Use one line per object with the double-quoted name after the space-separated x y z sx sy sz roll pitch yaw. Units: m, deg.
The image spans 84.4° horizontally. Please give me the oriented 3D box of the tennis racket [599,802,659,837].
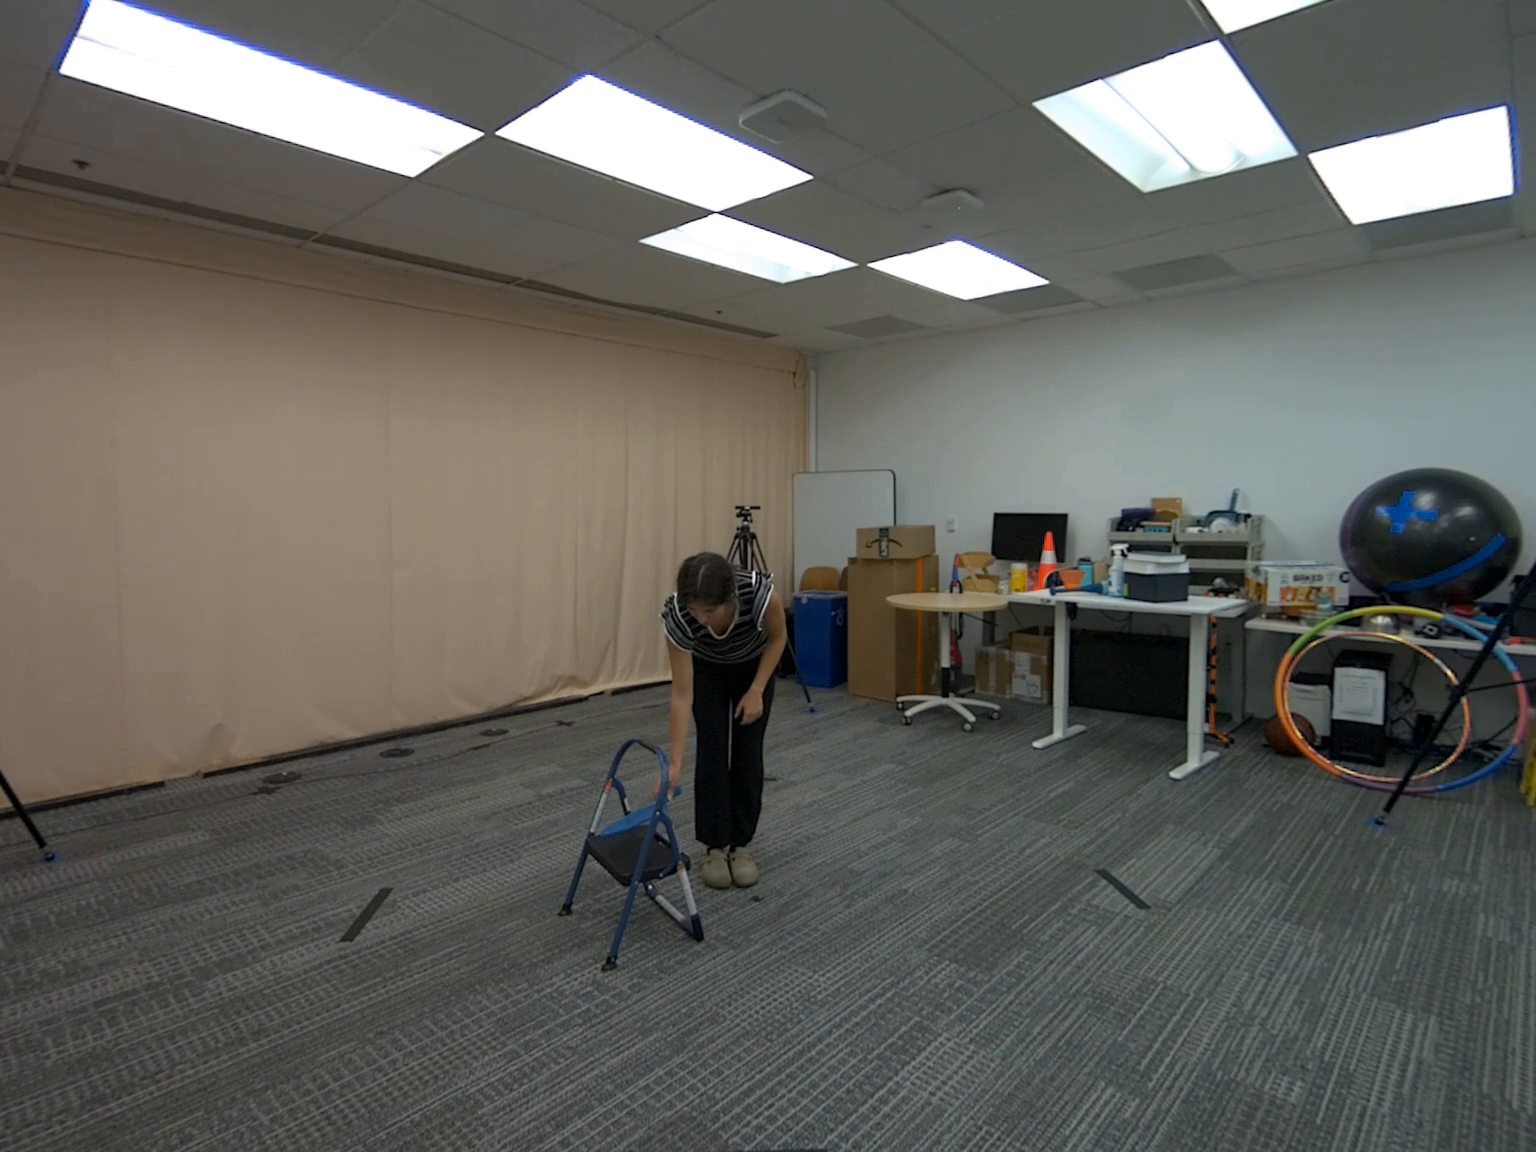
-0.391 0.795 2.848 0.217 0.032 0.425 -22 -1 23 "tennis racket"
